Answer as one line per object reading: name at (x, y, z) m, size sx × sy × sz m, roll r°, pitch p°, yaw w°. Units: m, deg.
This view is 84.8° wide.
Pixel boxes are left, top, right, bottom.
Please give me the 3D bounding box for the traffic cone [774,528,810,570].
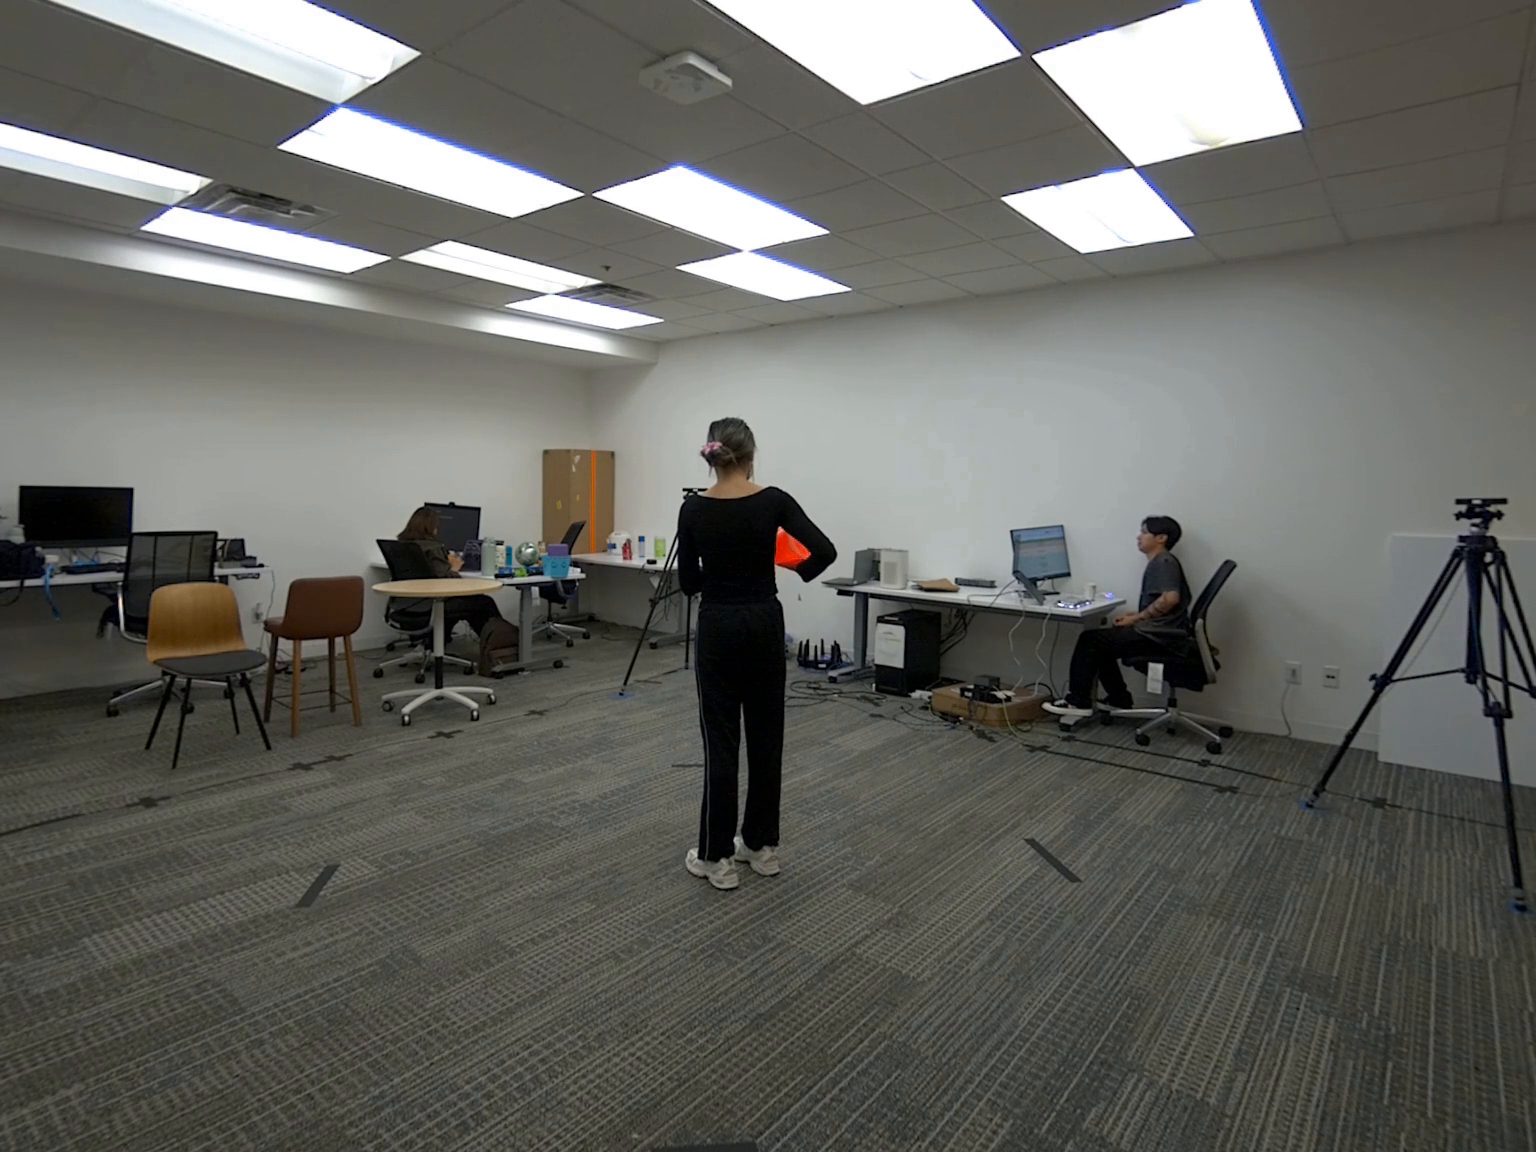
traffic cone at (-0.035, -0.075, 3.238) m, size 0.389 × 0.209 × 0.196 m, roll -25°, pitch -35°, yaw 29°
